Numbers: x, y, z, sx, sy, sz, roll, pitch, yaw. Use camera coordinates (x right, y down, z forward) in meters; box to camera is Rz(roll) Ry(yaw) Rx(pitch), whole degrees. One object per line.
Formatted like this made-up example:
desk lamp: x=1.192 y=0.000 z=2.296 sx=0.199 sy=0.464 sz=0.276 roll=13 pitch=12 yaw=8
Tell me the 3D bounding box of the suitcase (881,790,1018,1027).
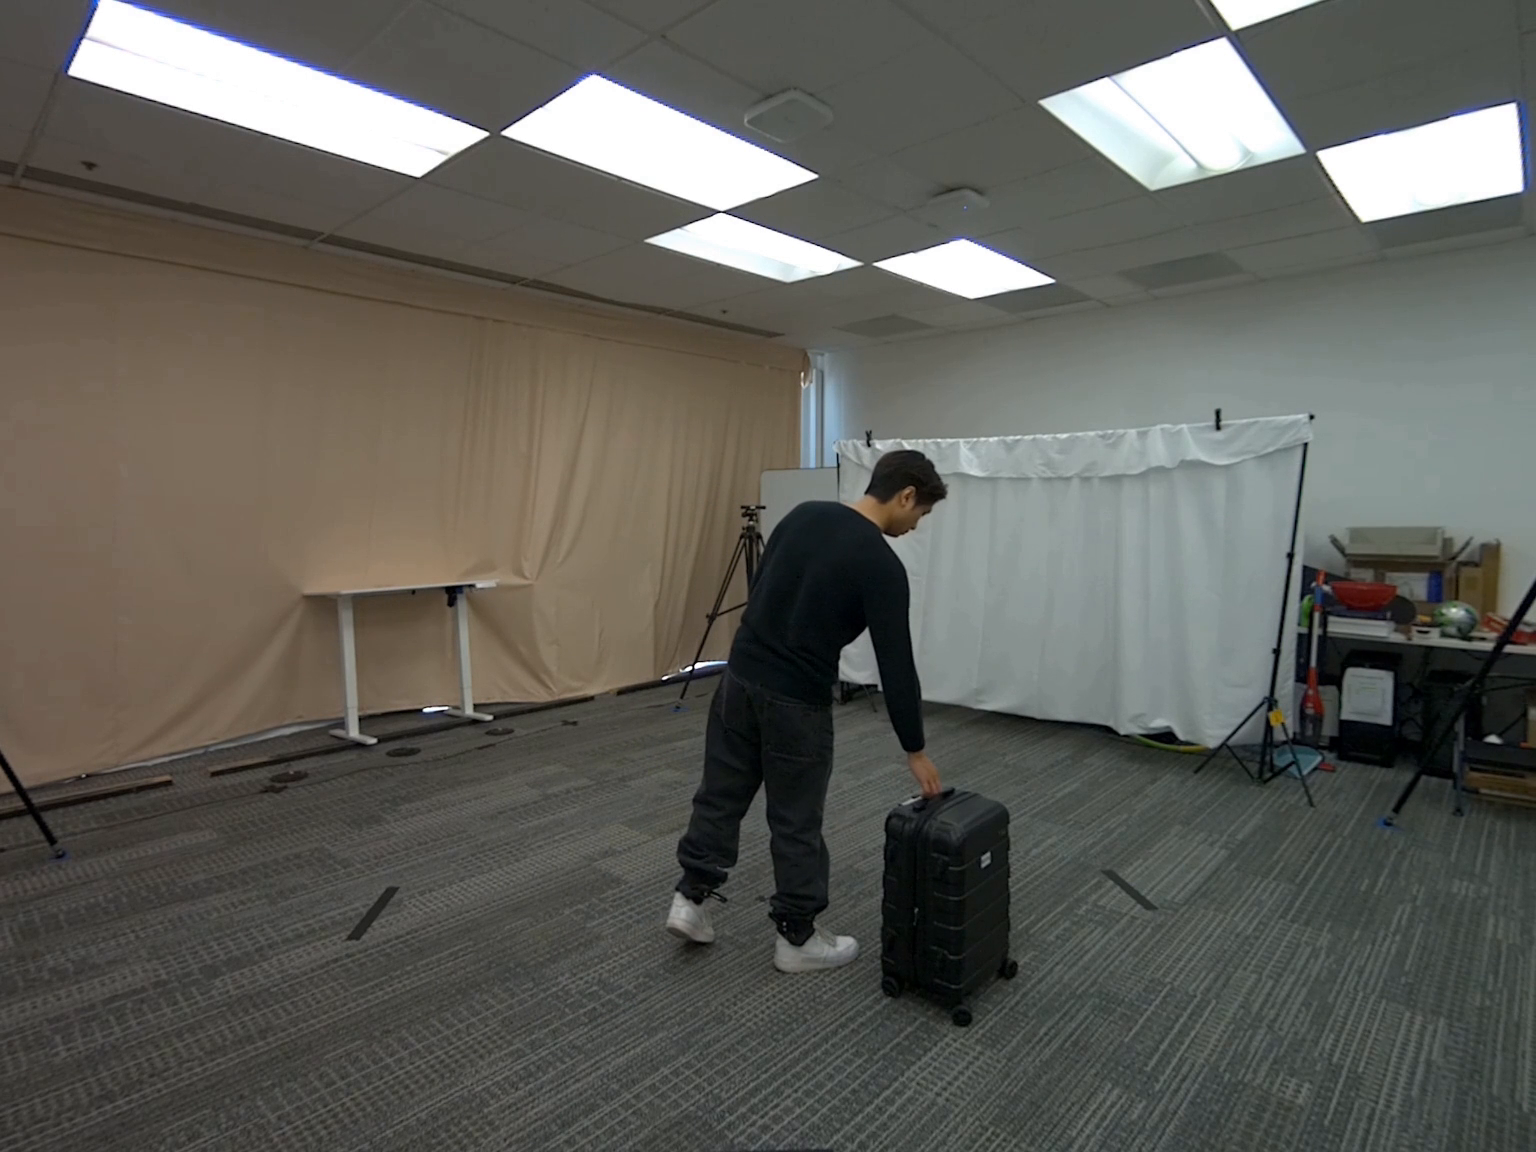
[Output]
suitcase: x=0.528 y=0.915 z=2.427 sx=0.256 sy=0.548 sz=0.364 roll=3 pitch=5 yaw=43
